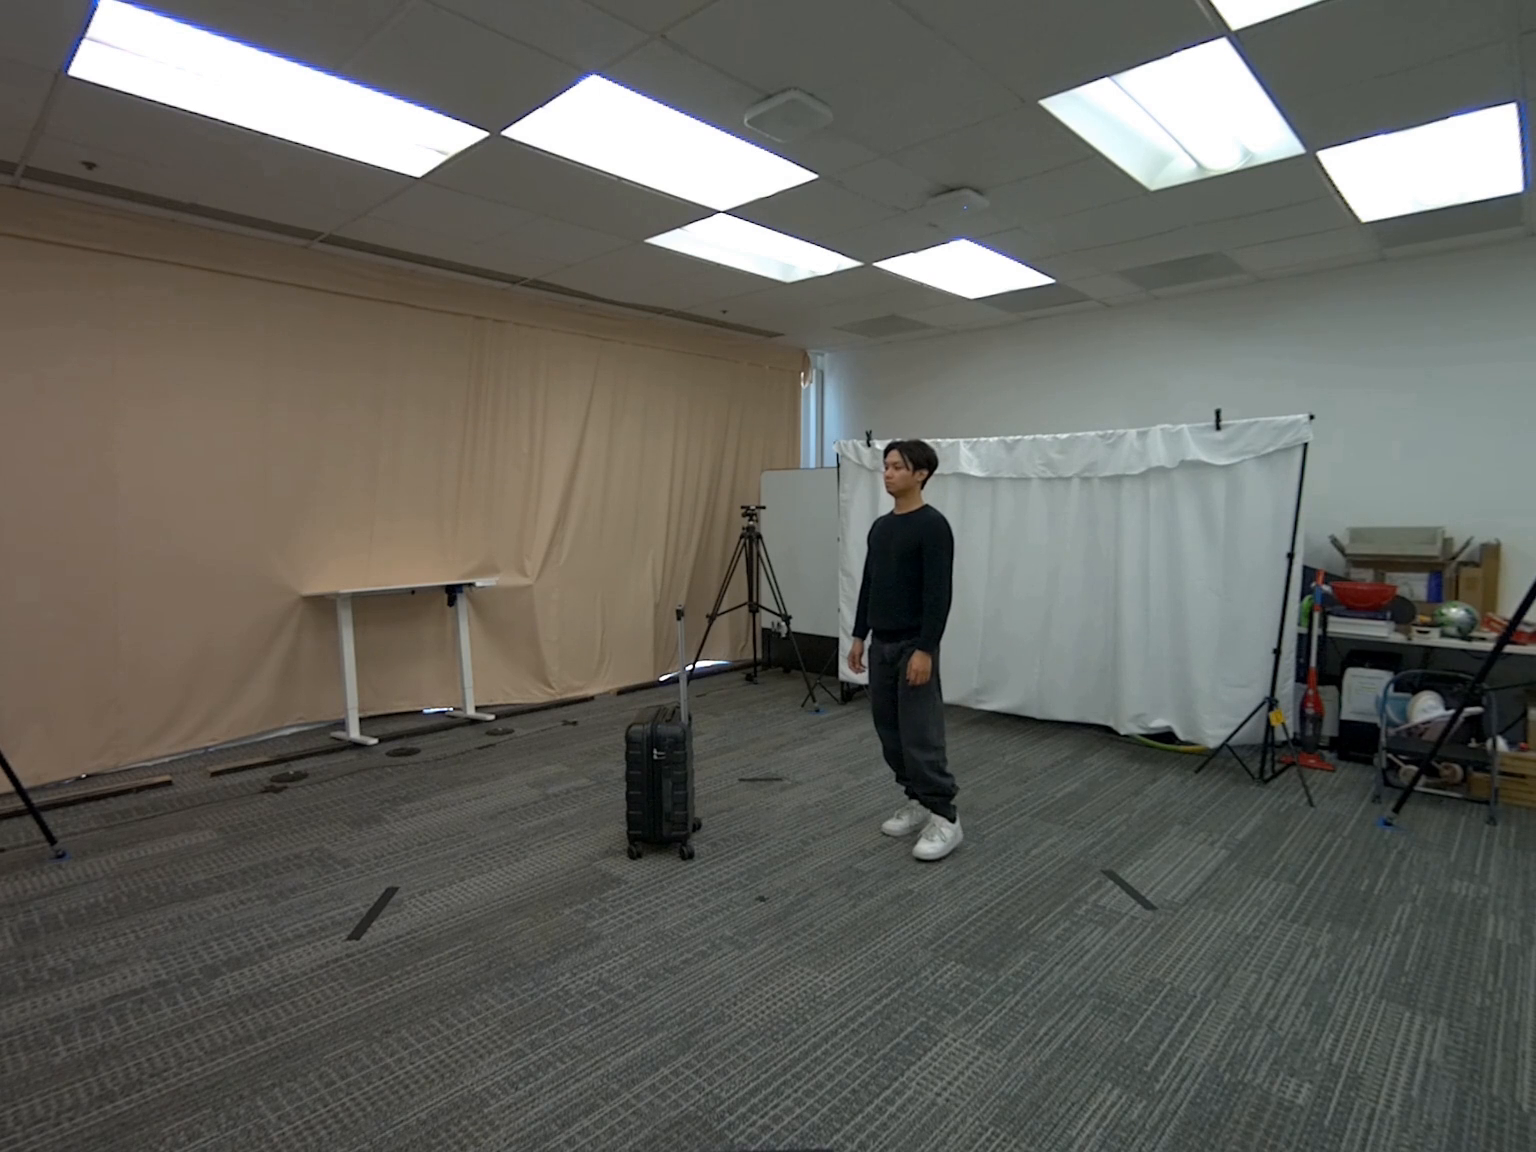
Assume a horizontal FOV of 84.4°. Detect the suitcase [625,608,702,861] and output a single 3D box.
[{"bbox_3d":[-0.449,0.632,3.472,0.258,0.978,0.383,-3,1,3],"label":"suitcase"}]
